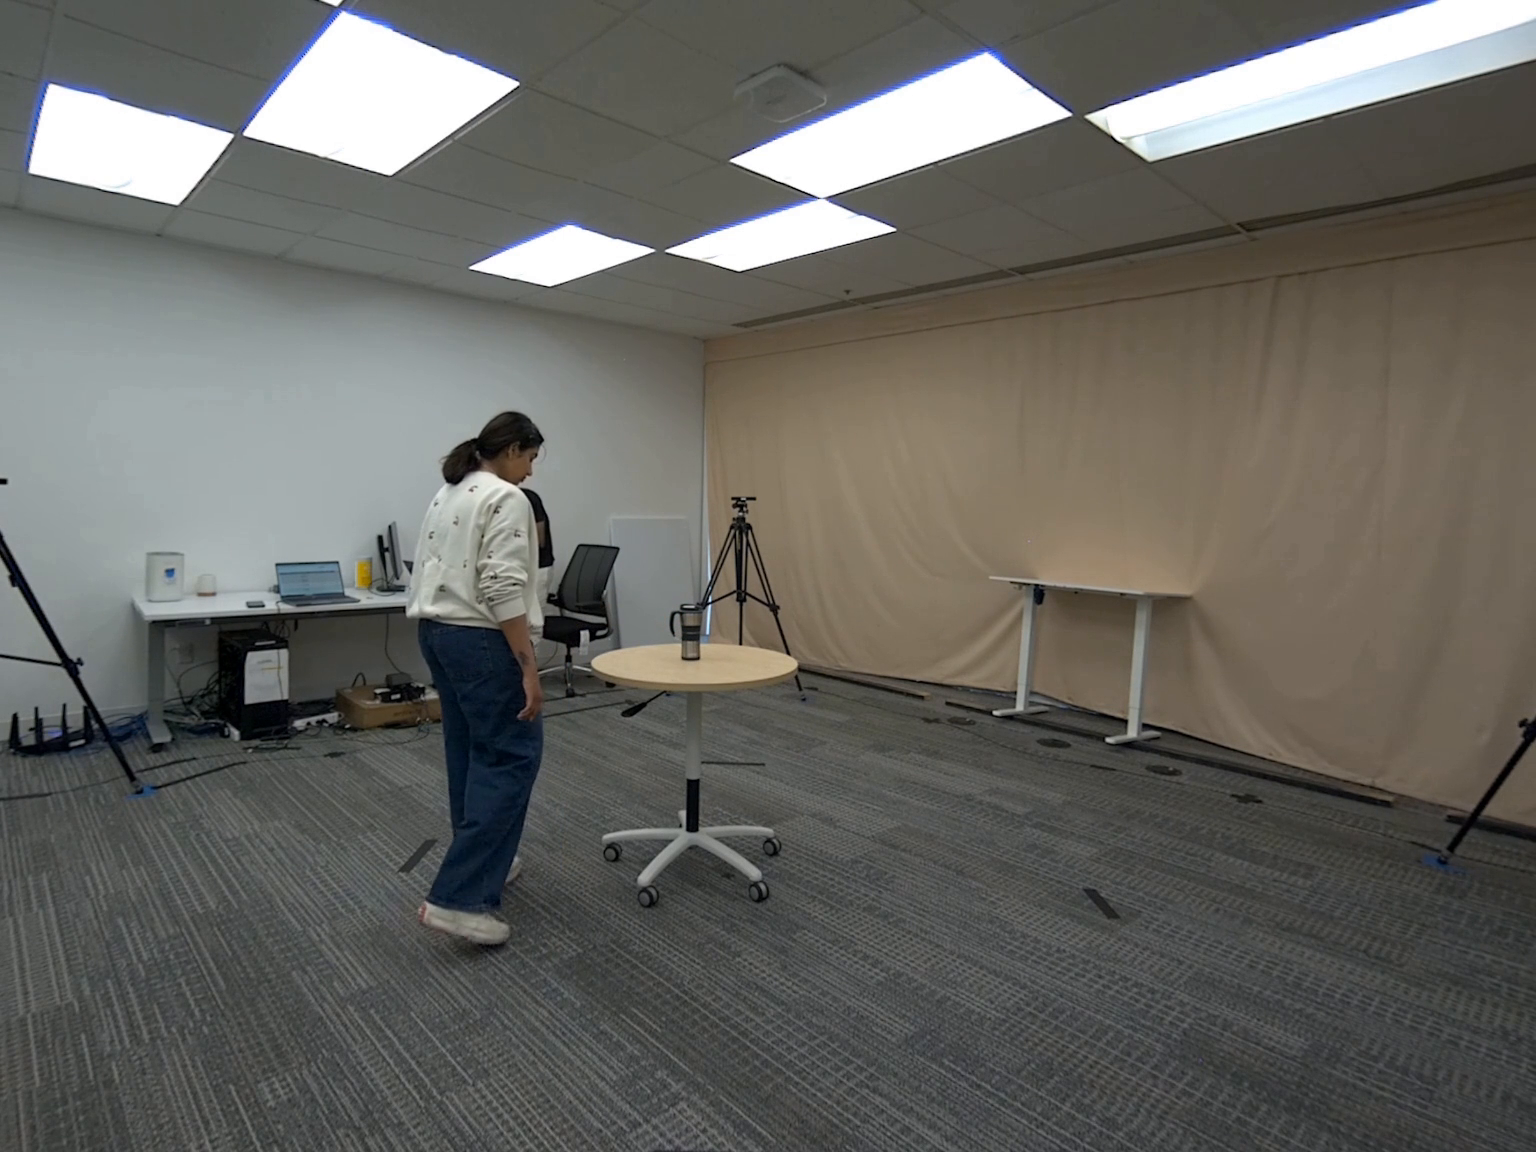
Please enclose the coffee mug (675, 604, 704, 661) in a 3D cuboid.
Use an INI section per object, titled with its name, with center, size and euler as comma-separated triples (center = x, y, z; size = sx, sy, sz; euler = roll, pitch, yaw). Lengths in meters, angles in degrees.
[coffee mug]
center = -0.317, 0.214, 3.177
size = 0.124, 0.202, 0.087
euler = 5, 6, 20
